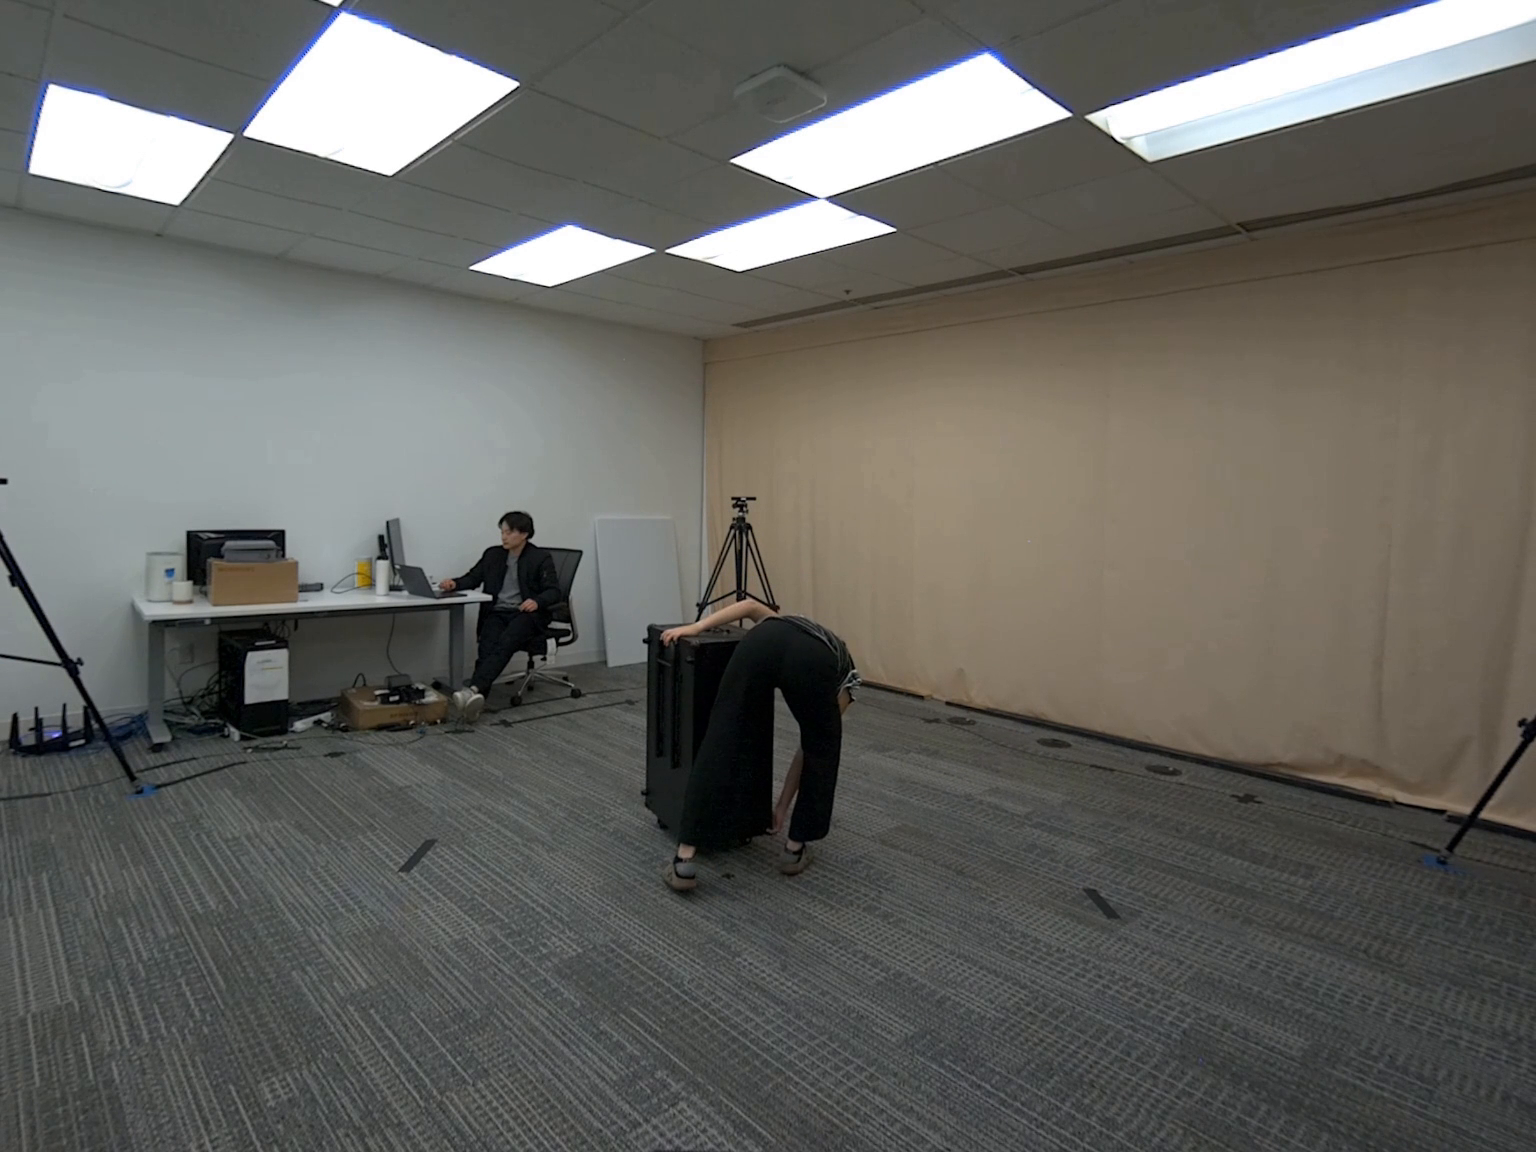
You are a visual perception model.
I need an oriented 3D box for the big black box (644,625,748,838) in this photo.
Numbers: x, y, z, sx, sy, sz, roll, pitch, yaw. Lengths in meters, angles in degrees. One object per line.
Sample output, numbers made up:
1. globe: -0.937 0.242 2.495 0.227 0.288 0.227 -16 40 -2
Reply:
1. big black box: -0.264 0.647 3.444 0.389 0.859 0.532 -1 4 -28
